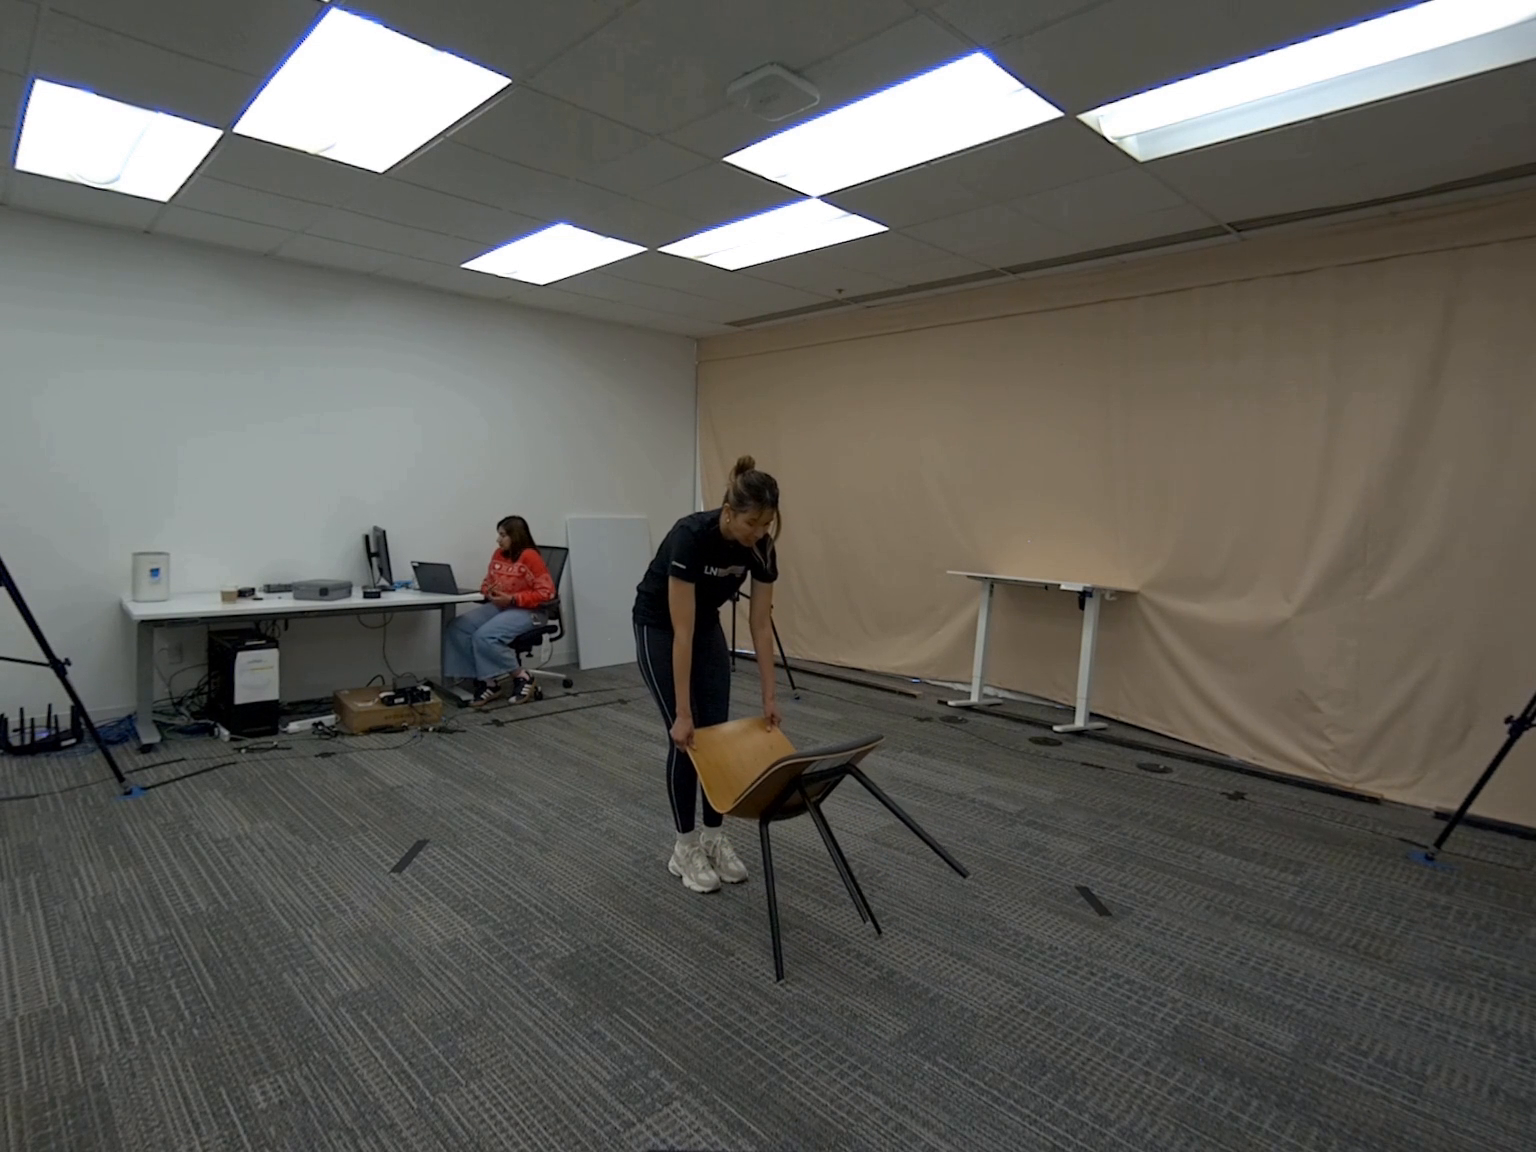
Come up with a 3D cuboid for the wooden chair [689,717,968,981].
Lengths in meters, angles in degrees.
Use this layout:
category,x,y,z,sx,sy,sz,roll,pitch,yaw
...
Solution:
category,x,y,z,sx,sy,sz,roll,pitch,yaw
wooden chair,0.121,0.682,2.631,0.467,0.520,0.902,-3,47,-40
